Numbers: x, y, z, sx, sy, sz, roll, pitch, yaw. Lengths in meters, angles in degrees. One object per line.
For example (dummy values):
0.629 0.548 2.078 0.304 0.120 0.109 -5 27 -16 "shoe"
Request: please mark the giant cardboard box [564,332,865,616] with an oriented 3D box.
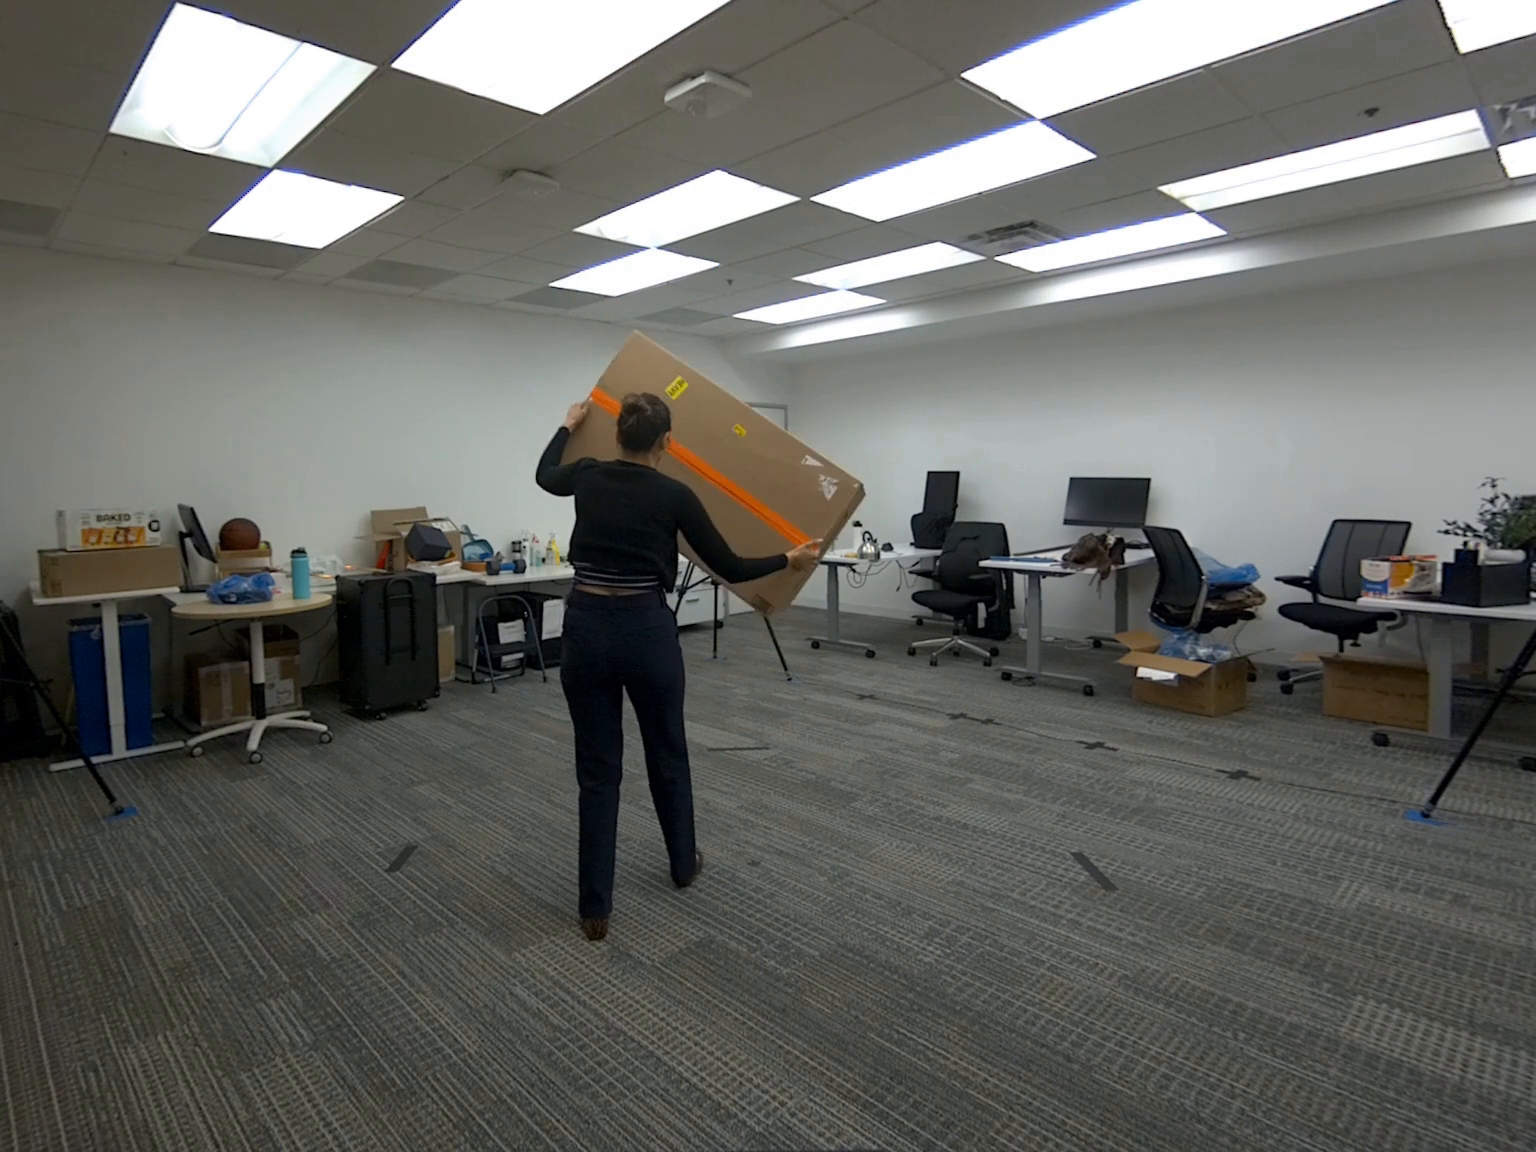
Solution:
-0.213 -0.373 3.271 1.041 0.577 0.420 36 4 10 "giant cardboard box"
